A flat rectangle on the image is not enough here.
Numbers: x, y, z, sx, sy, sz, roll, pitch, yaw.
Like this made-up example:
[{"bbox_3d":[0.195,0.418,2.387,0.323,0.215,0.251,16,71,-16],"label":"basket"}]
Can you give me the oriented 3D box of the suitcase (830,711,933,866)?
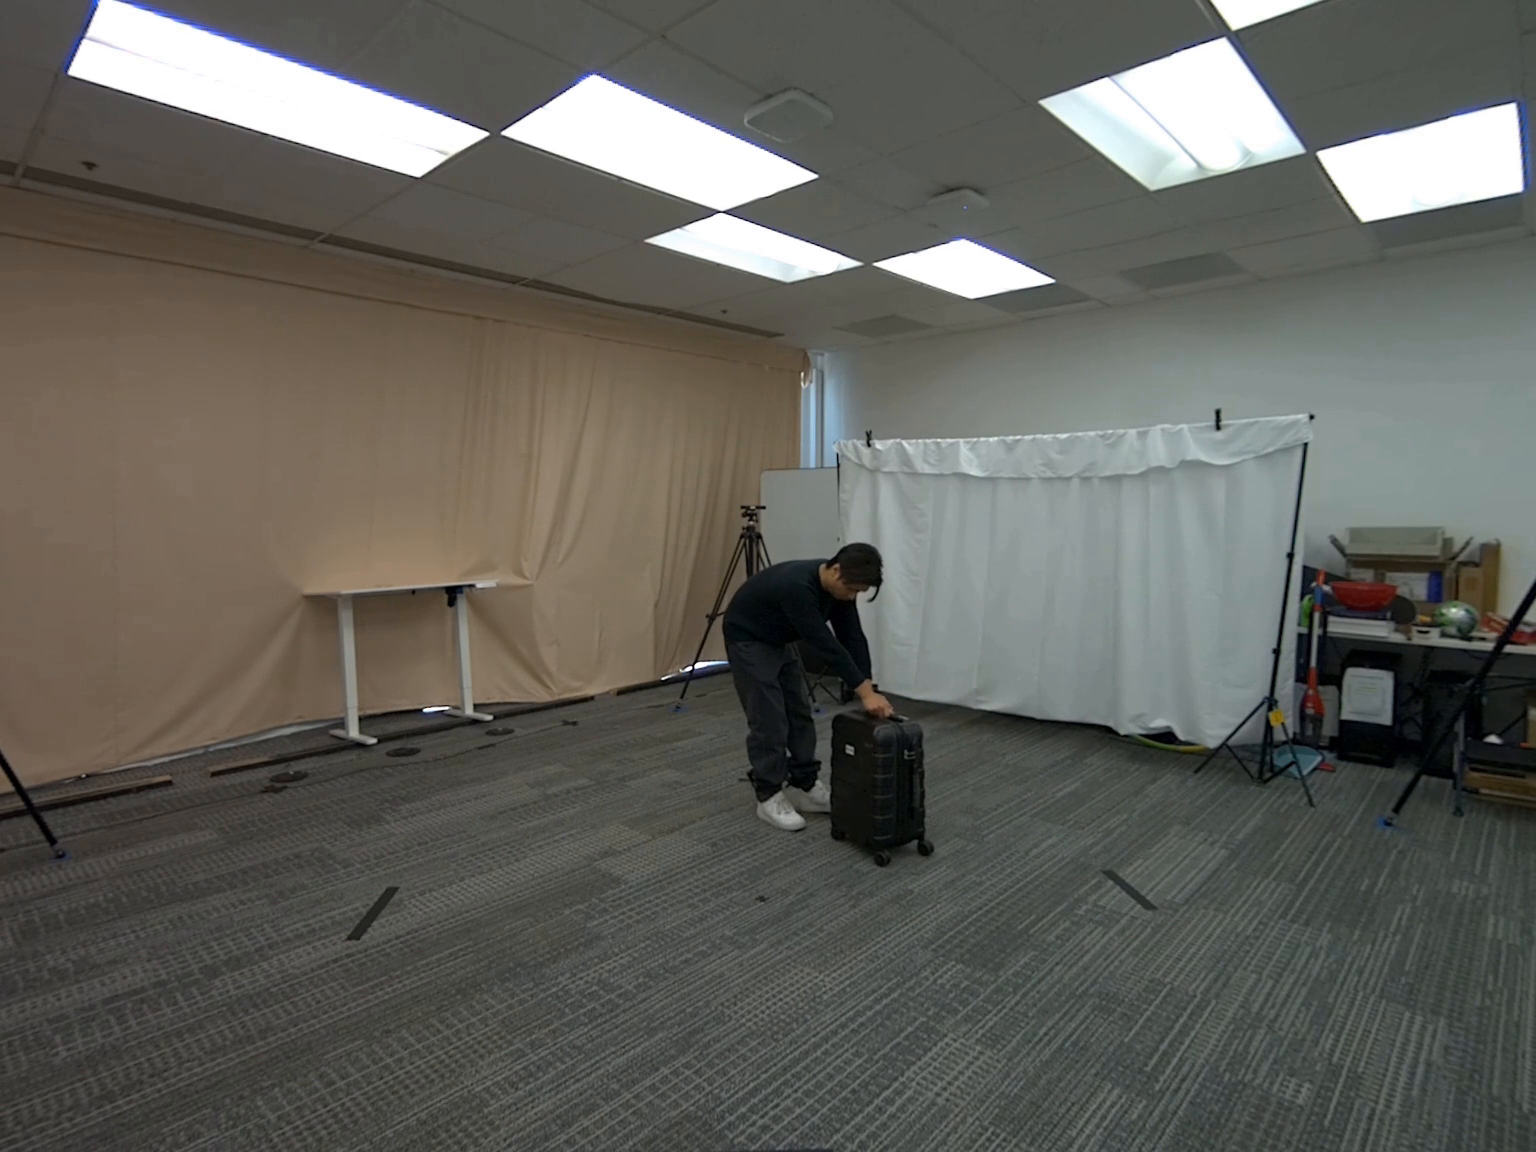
[{"bbox_3d":[0.454,0.831,3.437,0.242,0.548,0.386,-3,3,-29],"label":"suitcase"}]
